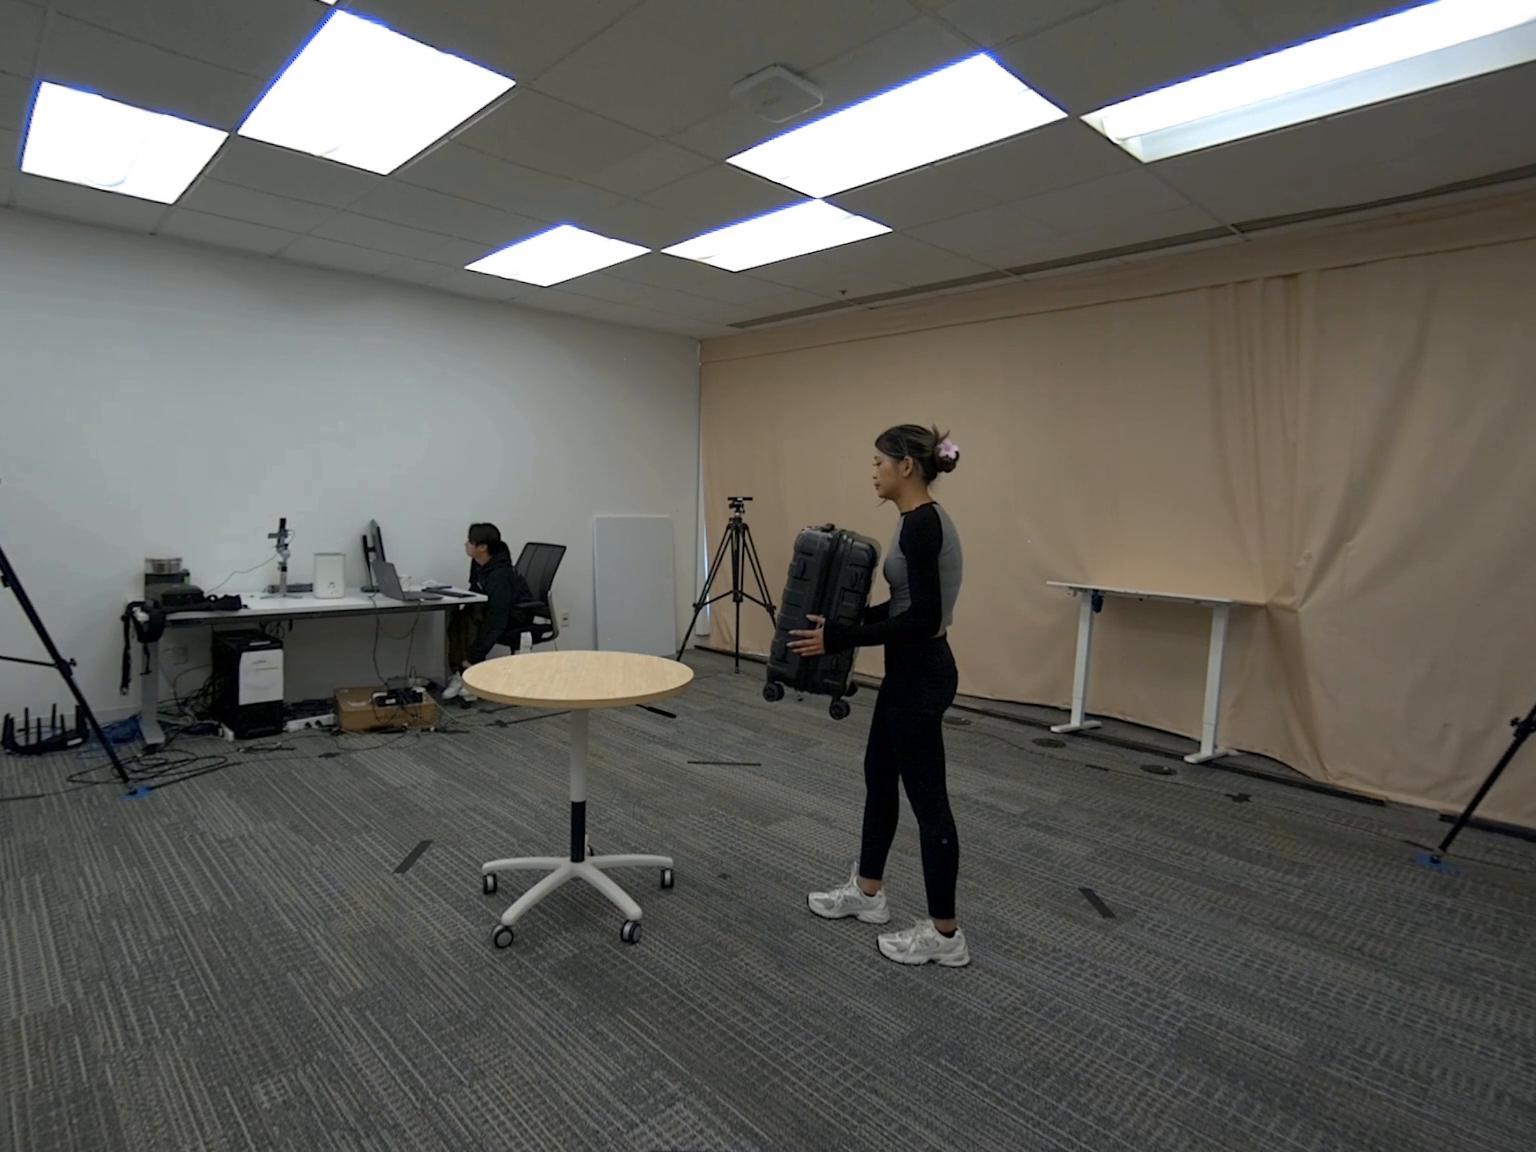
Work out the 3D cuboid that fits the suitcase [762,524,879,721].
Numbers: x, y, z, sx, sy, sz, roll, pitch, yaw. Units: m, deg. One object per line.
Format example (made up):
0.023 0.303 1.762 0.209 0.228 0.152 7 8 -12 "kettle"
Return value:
0.177 0.114 2.667 0.251 0.547 0.372 12 6 12 "suitcase"
